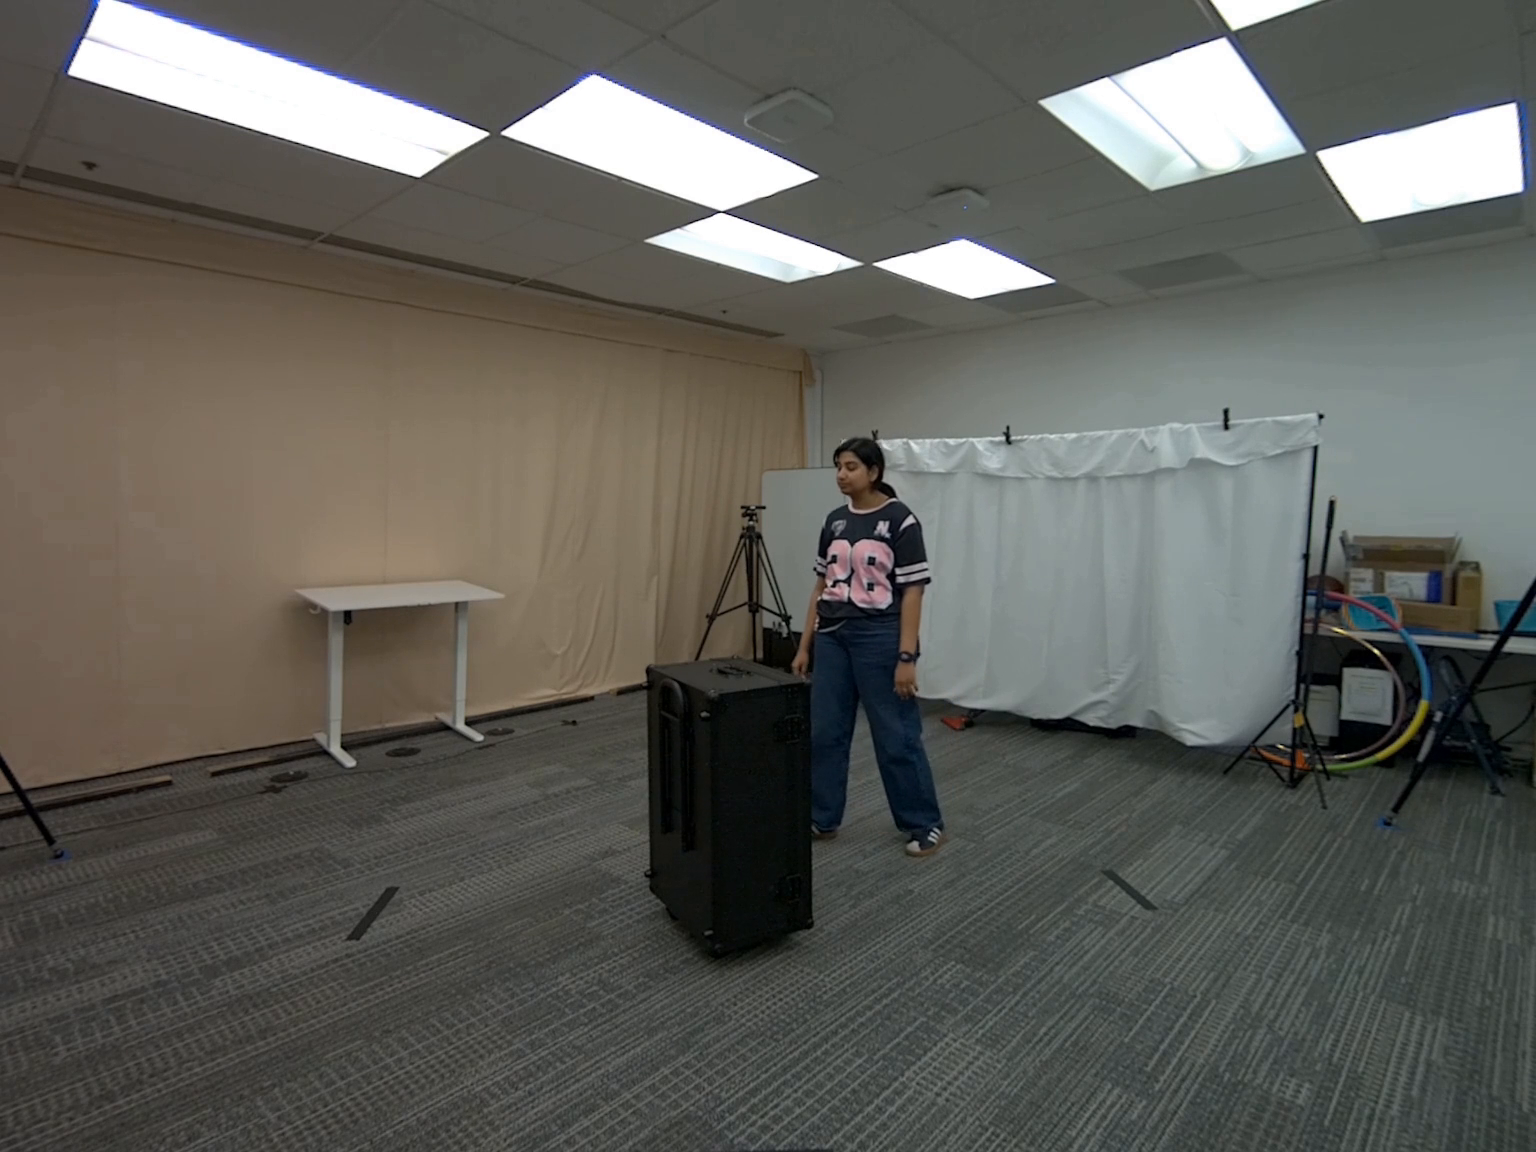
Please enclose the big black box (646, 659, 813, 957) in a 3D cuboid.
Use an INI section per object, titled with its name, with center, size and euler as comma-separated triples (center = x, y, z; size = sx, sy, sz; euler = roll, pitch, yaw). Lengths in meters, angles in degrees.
[big black box]
center = -0.130, 0.744, 2.741
size = 0.375, 0.866, 0.538
euler = -2, 4, -30
